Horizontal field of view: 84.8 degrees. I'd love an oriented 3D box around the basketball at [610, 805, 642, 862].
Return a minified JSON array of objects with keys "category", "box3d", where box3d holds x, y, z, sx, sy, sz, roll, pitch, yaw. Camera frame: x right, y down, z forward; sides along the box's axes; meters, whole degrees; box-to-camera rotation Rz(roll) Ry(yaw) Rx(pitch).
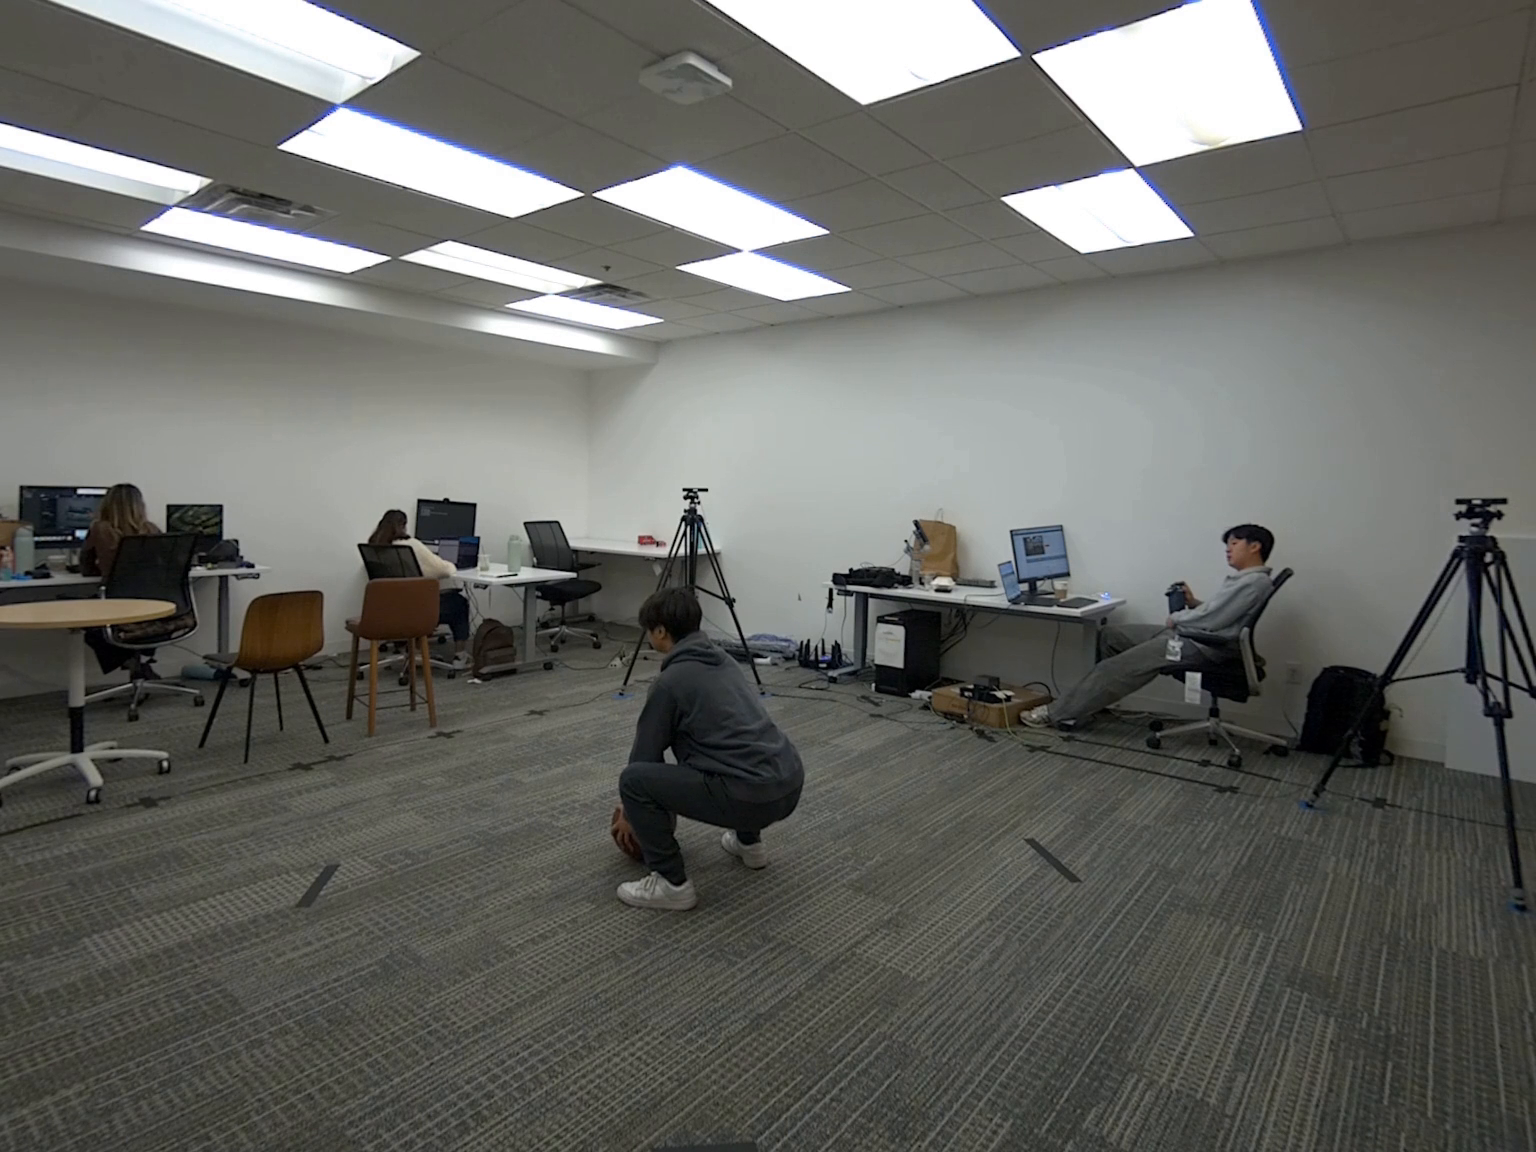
[{"category":"basketball","box3d":[-0.471,0.924,3.218,0.235,0.235,0.237,1,4,-2]}]
